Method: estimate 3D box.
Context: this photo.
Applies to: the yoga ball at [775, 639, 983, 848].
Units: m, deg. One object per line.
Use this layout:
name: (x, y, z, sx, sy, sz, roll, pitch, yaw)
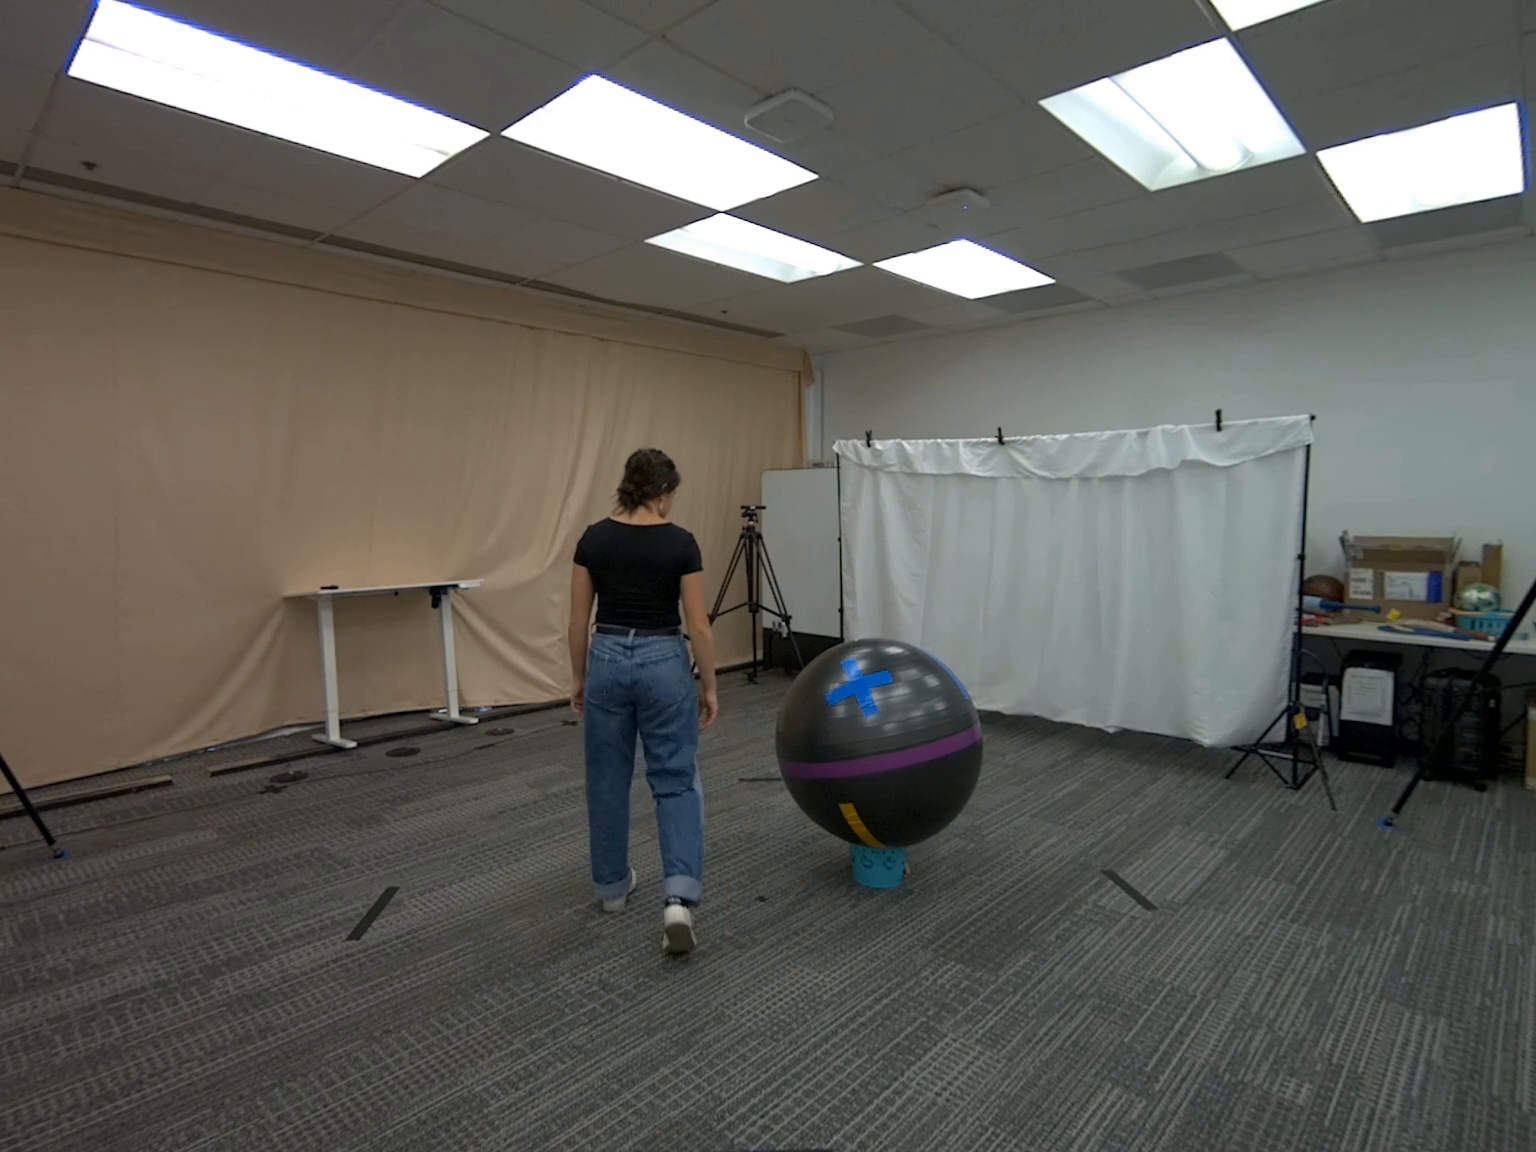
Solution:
yoga ball: (0.410, 0.612, 3.140, 0.757, 0.756, 0.760, 0, 4, -2)
